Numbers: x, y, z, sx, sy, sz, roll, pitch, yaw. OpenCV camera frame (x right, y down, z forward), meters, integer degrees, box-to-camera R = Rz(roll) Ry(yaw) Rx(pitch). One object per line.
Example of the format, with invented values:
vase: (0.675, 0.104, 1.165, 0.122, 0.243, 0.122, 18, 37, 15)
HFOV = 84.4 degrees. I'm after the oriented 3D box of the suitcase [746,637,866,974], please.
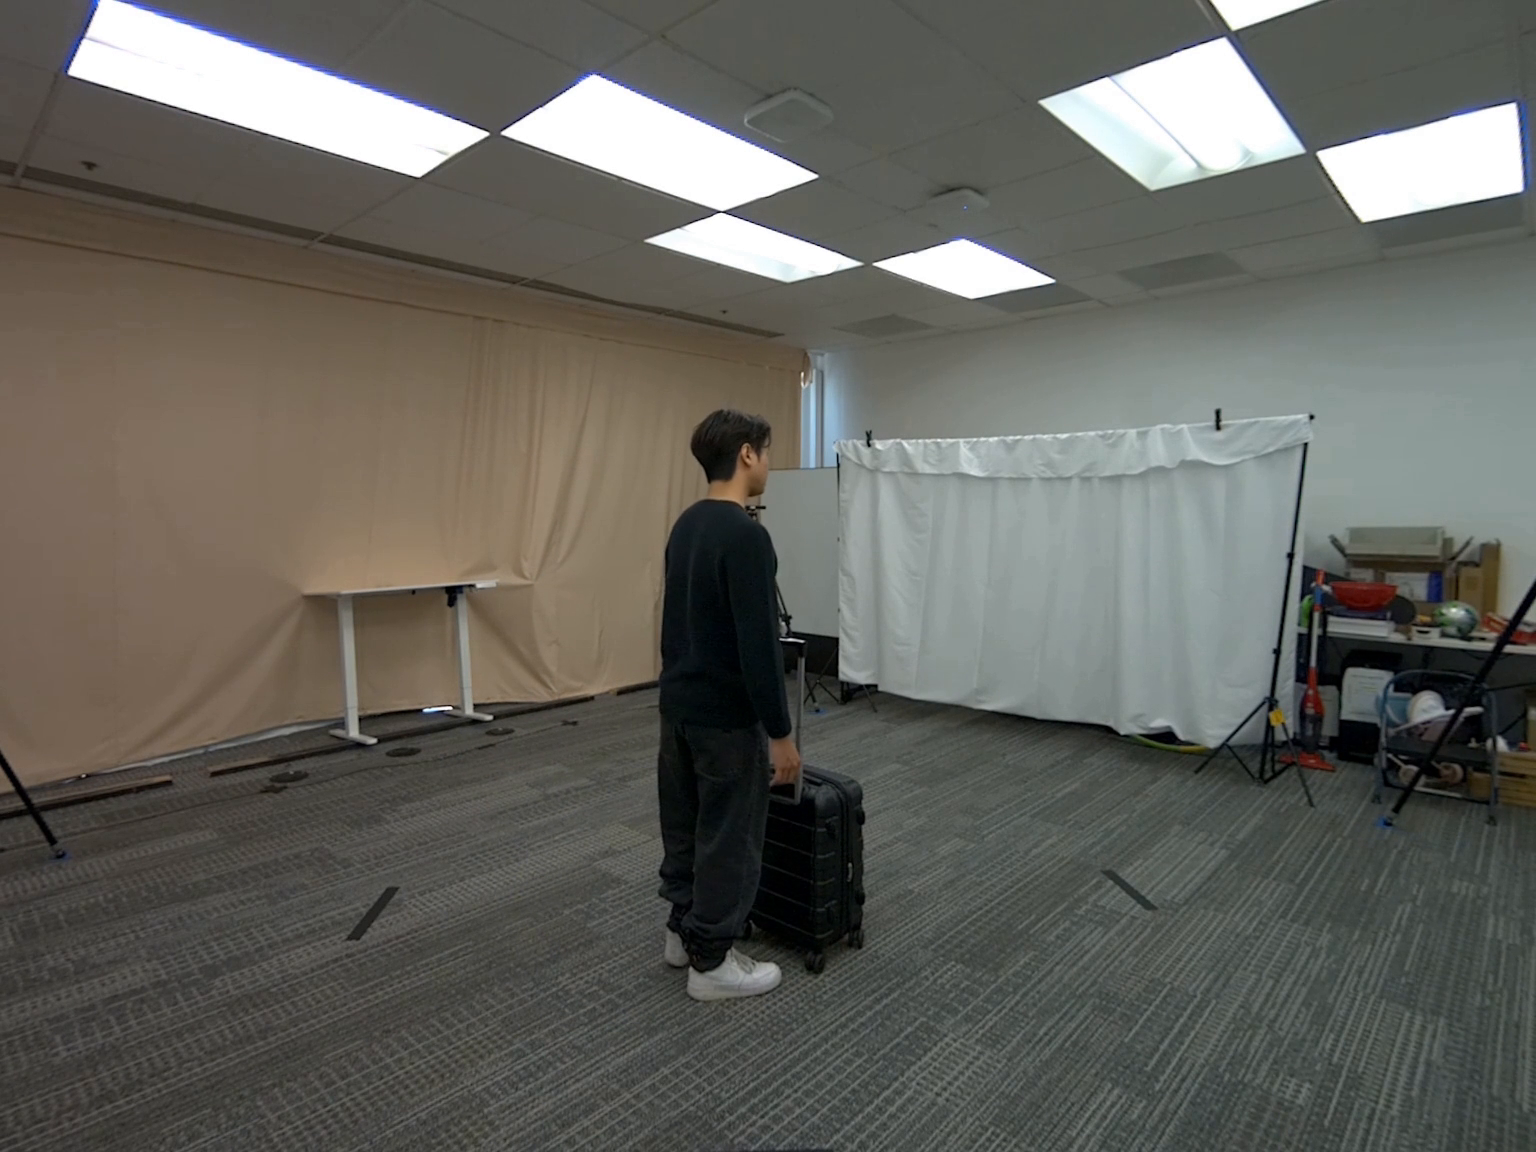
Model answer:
suitcase: (0.120, 0.692, 2.694, 0.397, 0.978, 0.249, 2, 1, 43)
